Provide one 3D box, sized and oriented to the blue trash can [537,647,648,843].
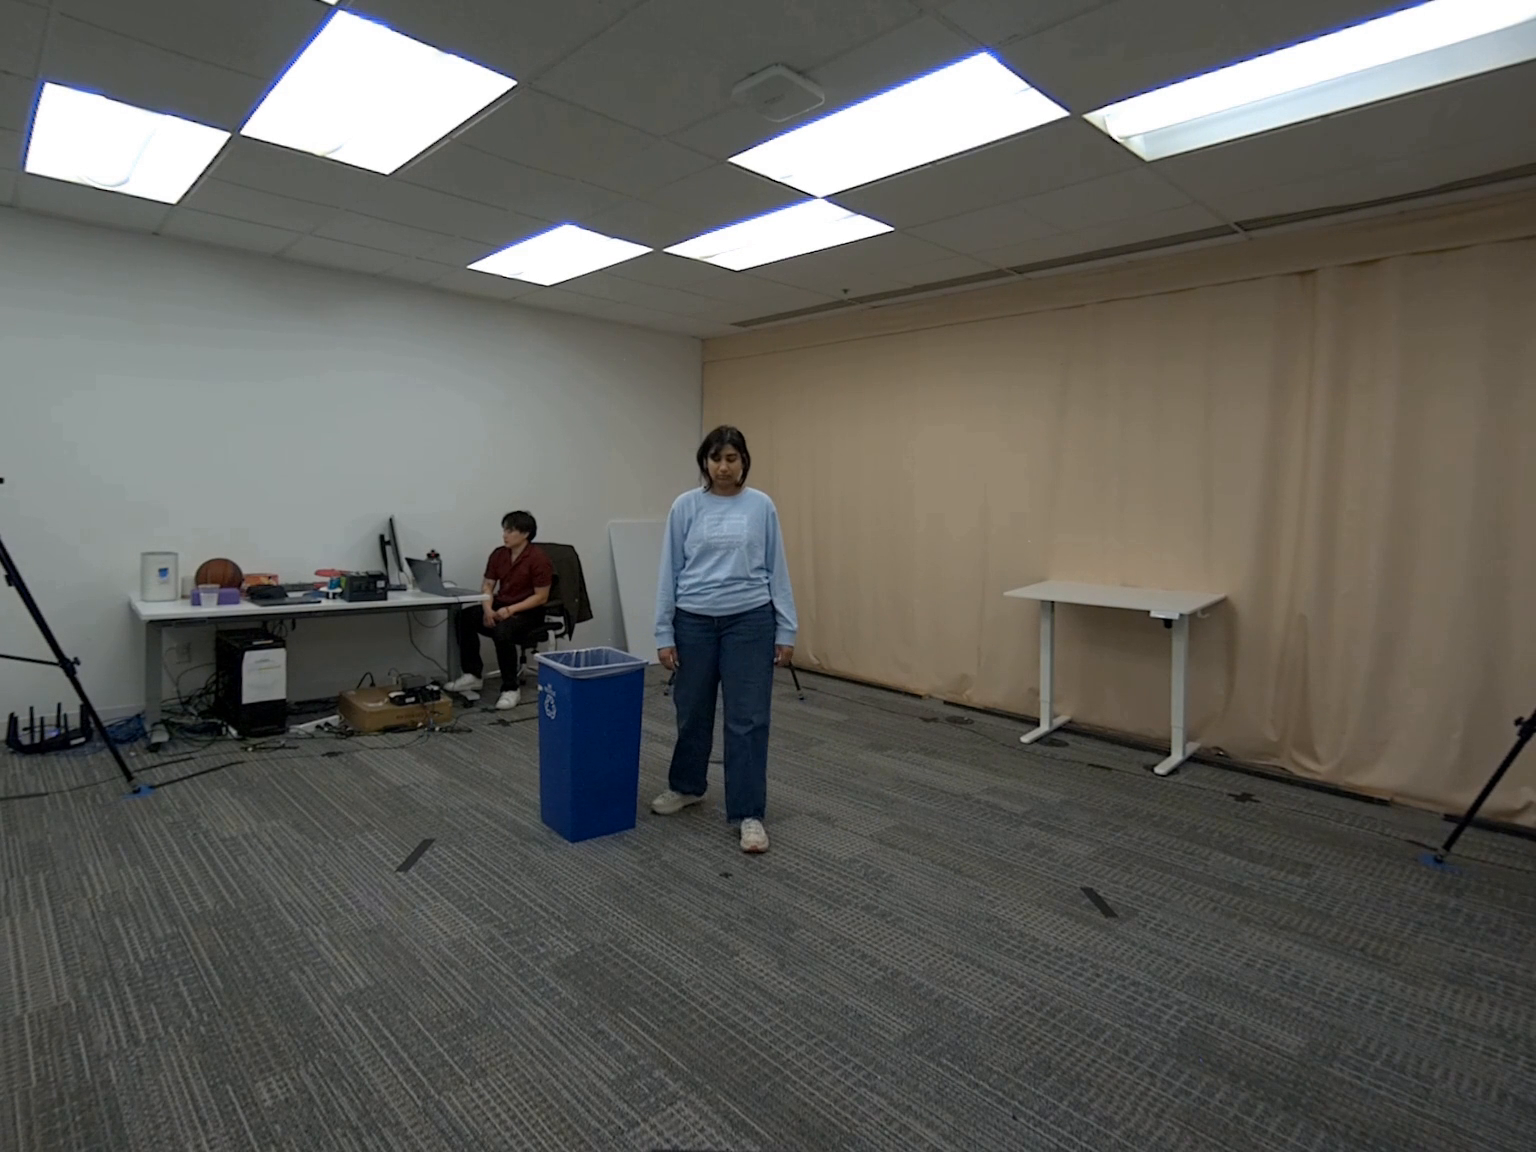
[{"bbox_3d":[-0.759,0.696,3.533,0.365,0.711,0.388,-1,5,-40],"label":"blue trash can"}]
